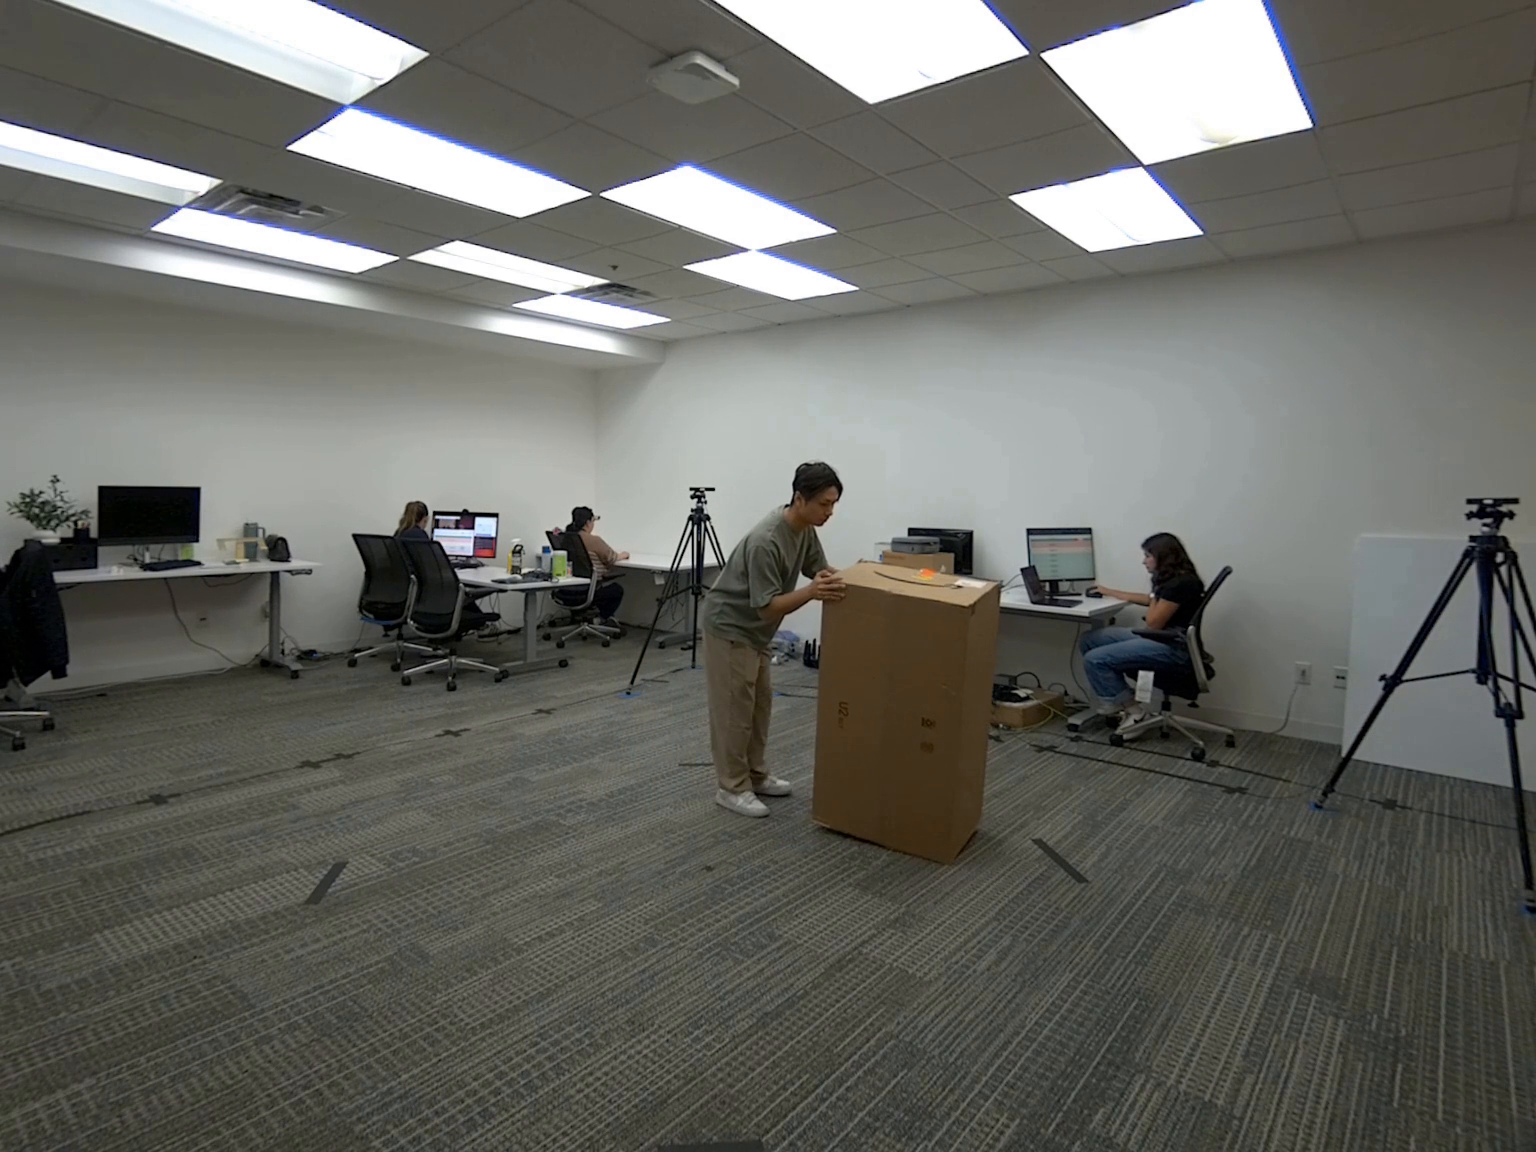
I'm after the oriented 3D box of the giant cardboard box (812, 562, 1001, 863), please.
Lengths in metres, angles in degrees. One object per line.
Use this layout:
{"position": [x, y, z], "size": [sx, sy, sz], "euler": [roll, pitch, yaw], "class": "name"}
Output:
{"position": [0.542, 0.515, 3.408], "size": [0.595, 1.015, 0.417], "euler": [9, 13, 29], "class": "giant cardboard box"}
